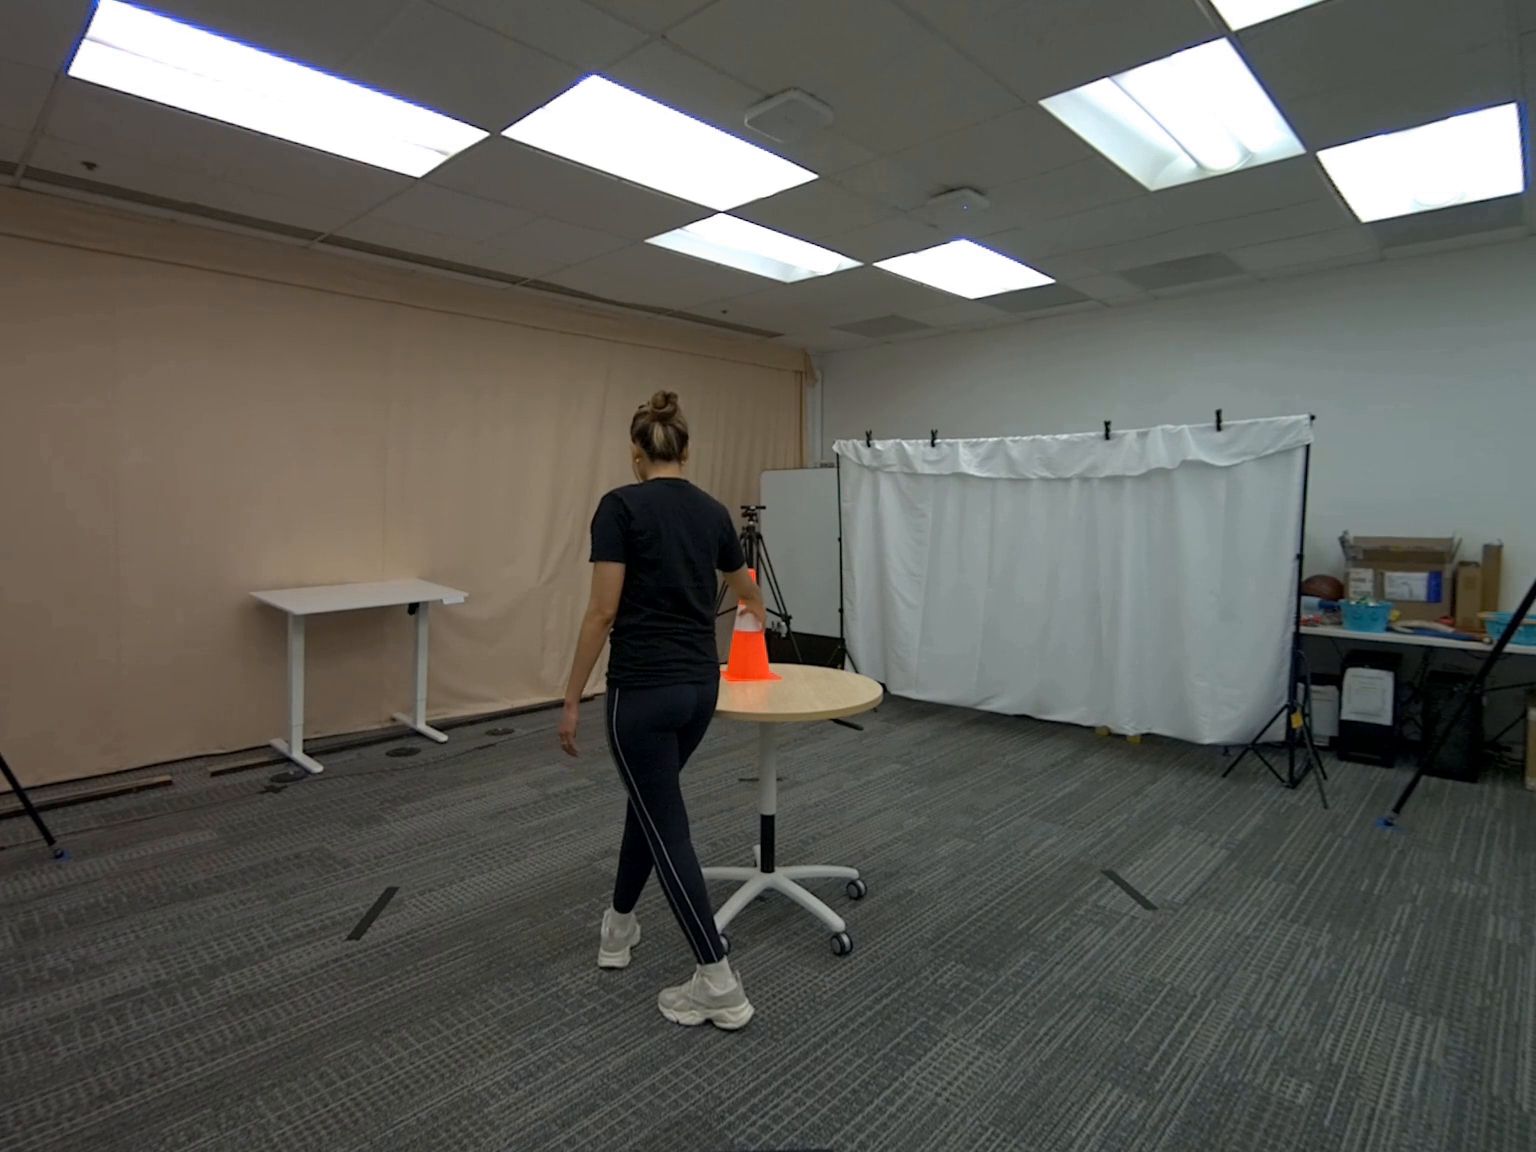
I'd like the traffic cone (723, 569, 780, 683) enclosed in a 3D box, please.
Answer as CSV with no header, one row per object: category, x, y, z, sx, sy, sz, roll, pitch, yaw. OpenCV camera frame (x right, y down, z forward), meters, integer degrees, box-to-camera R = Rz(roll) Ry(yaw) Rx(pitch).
traffic cone,-0.076,0.171,3.006,0.199,0.383,0.209,-5,3,-32
